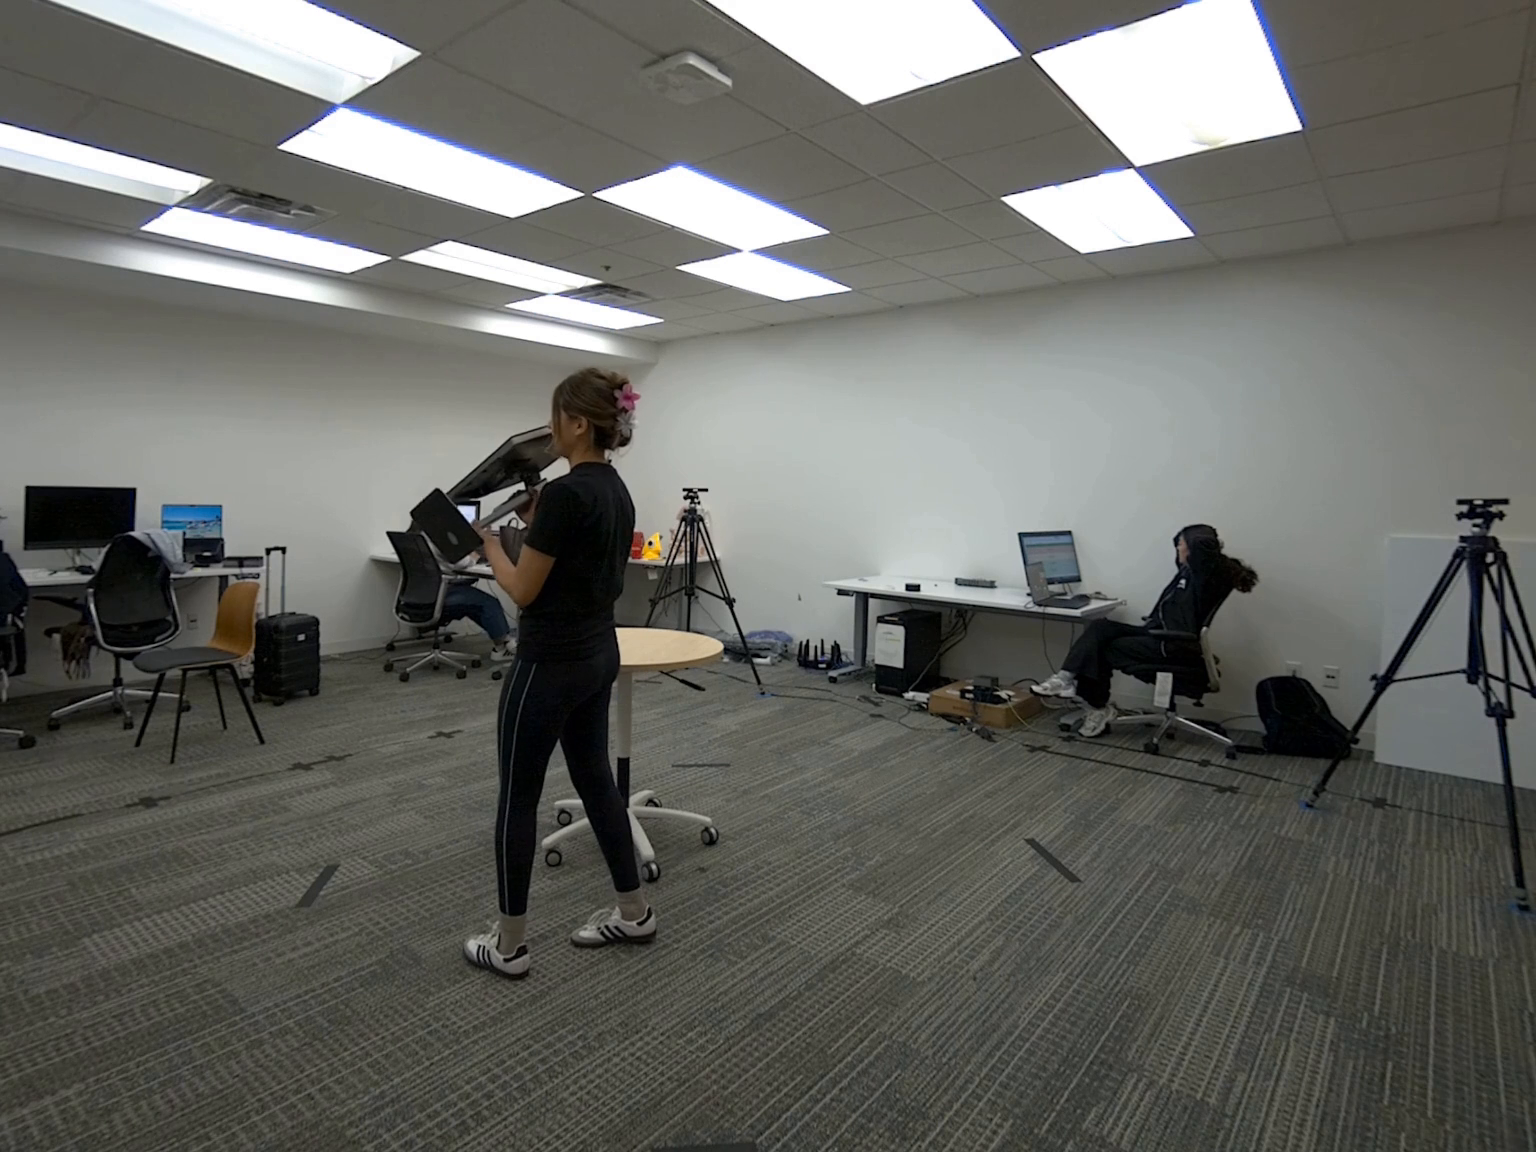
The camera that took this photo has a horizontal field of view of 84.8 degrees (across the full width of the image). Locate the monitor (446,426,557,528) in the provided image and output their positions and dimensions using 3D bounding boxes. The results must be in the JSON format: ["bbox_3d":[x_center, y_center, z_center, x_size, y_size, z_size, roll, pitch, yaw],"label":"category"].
[{"bbox_3d":[-0.830,-0.294,2.644,0.550,0.183,0.522,-19,23,45],"label":"monitor"}]
